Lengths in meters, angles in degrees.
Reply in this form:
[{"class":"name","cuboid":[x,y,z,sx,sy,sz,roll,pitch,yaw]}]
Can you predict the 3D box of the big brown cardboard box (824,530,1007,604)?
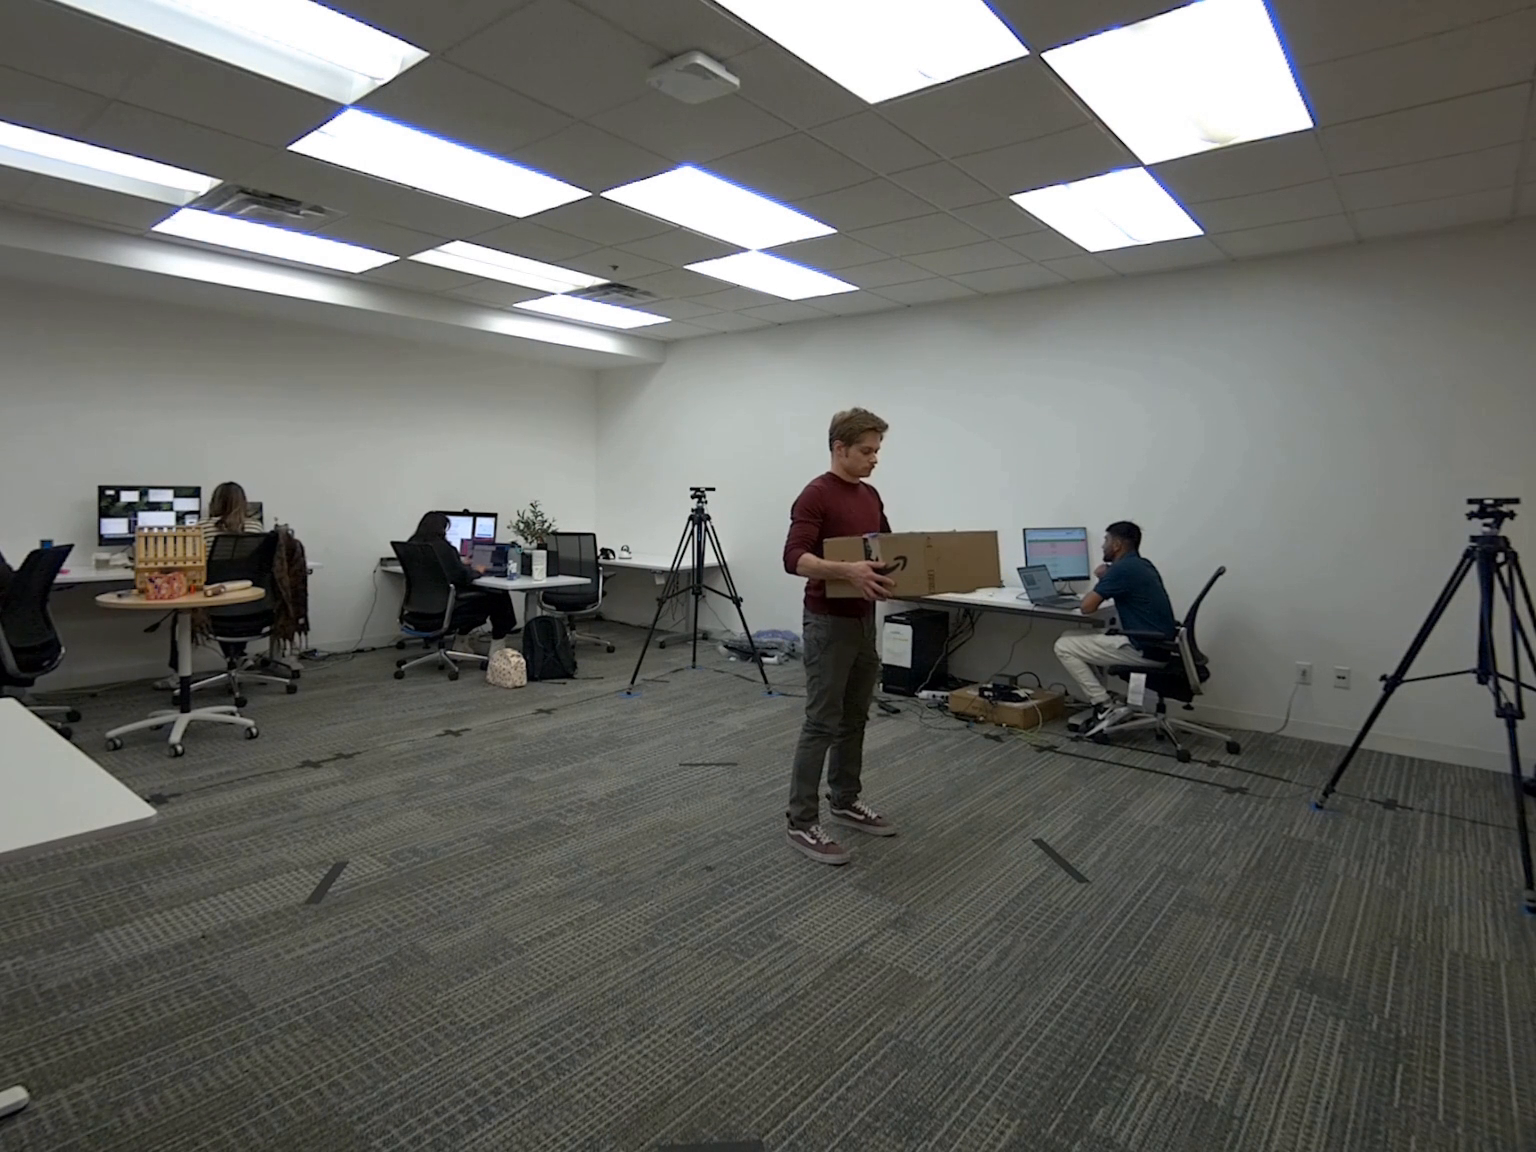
[{"class":"big brown cardboard box","cuboid":[0.554,-0.038,3.149,0.430,0.233,0.571,-2,1,42]}]
